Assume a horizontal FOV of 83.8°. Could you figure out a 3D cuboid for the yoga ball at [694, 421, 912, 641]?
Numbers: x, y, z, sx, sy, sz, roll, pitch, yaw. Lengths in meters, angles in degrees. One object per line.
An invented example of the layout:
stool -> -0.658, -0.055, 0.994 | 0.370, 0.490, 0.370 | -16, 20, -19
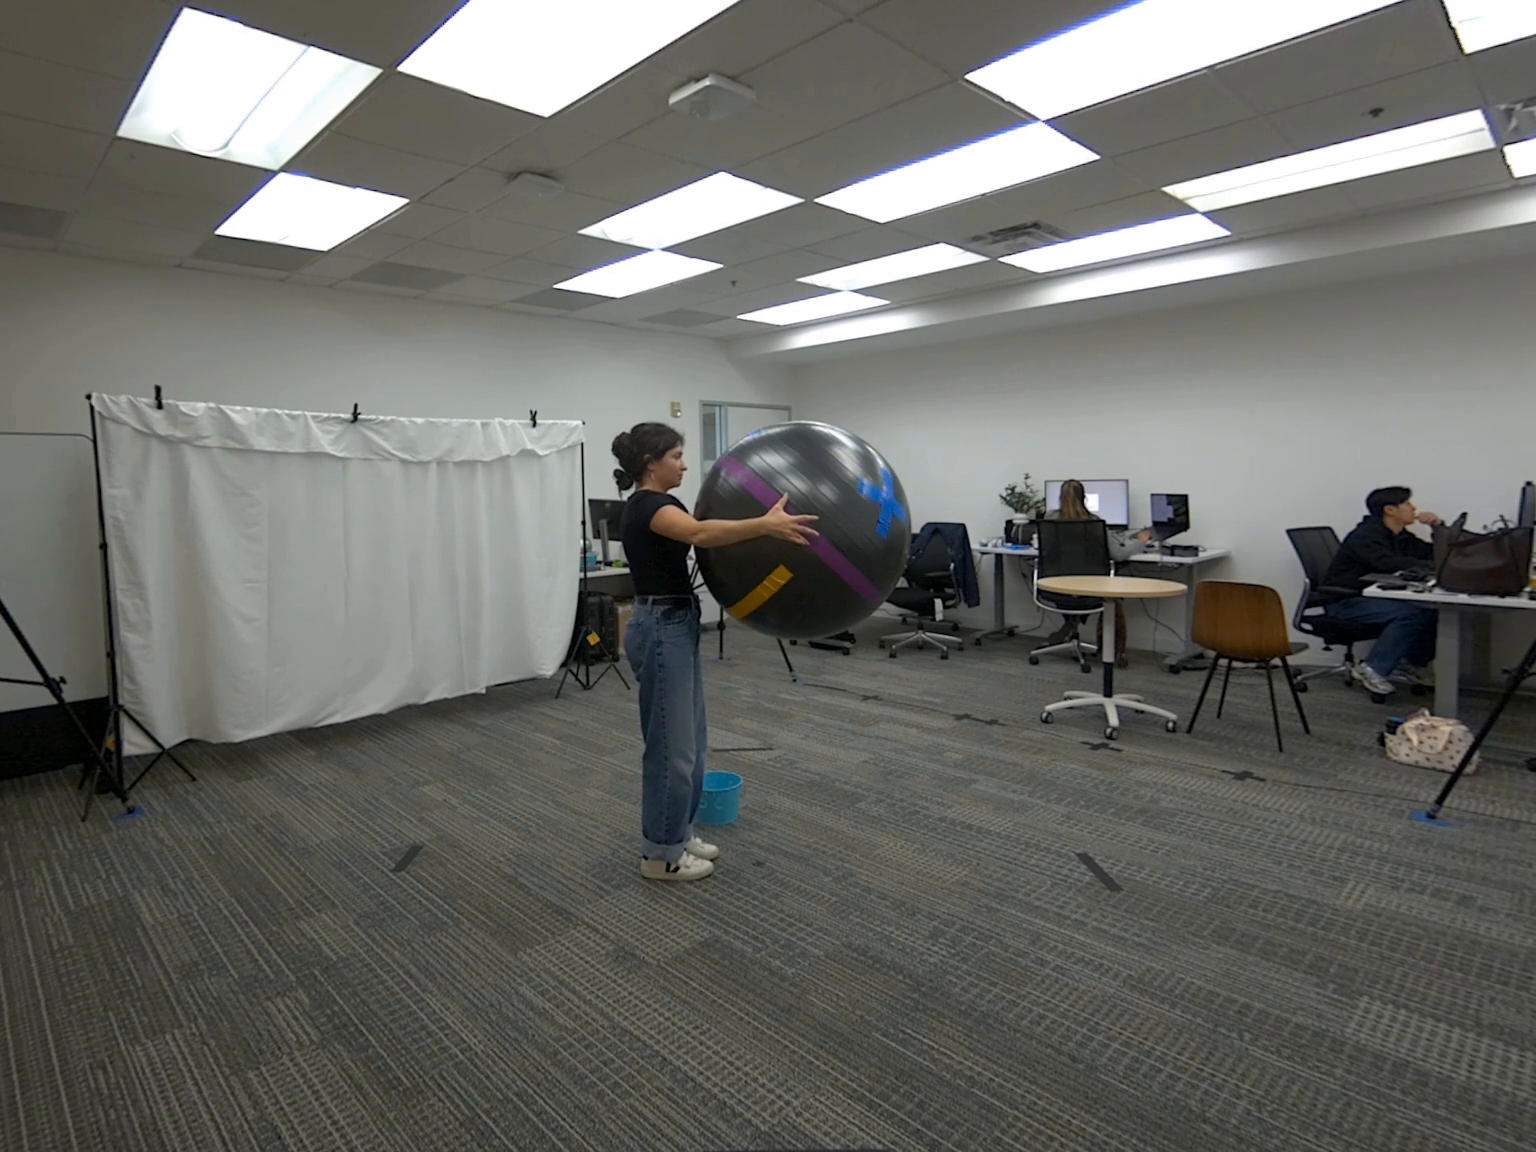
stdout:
yoga ball -> 0.123, -0.159, 2.968 | 0.757, 0.755, 0.762 | -1, 5, -2
